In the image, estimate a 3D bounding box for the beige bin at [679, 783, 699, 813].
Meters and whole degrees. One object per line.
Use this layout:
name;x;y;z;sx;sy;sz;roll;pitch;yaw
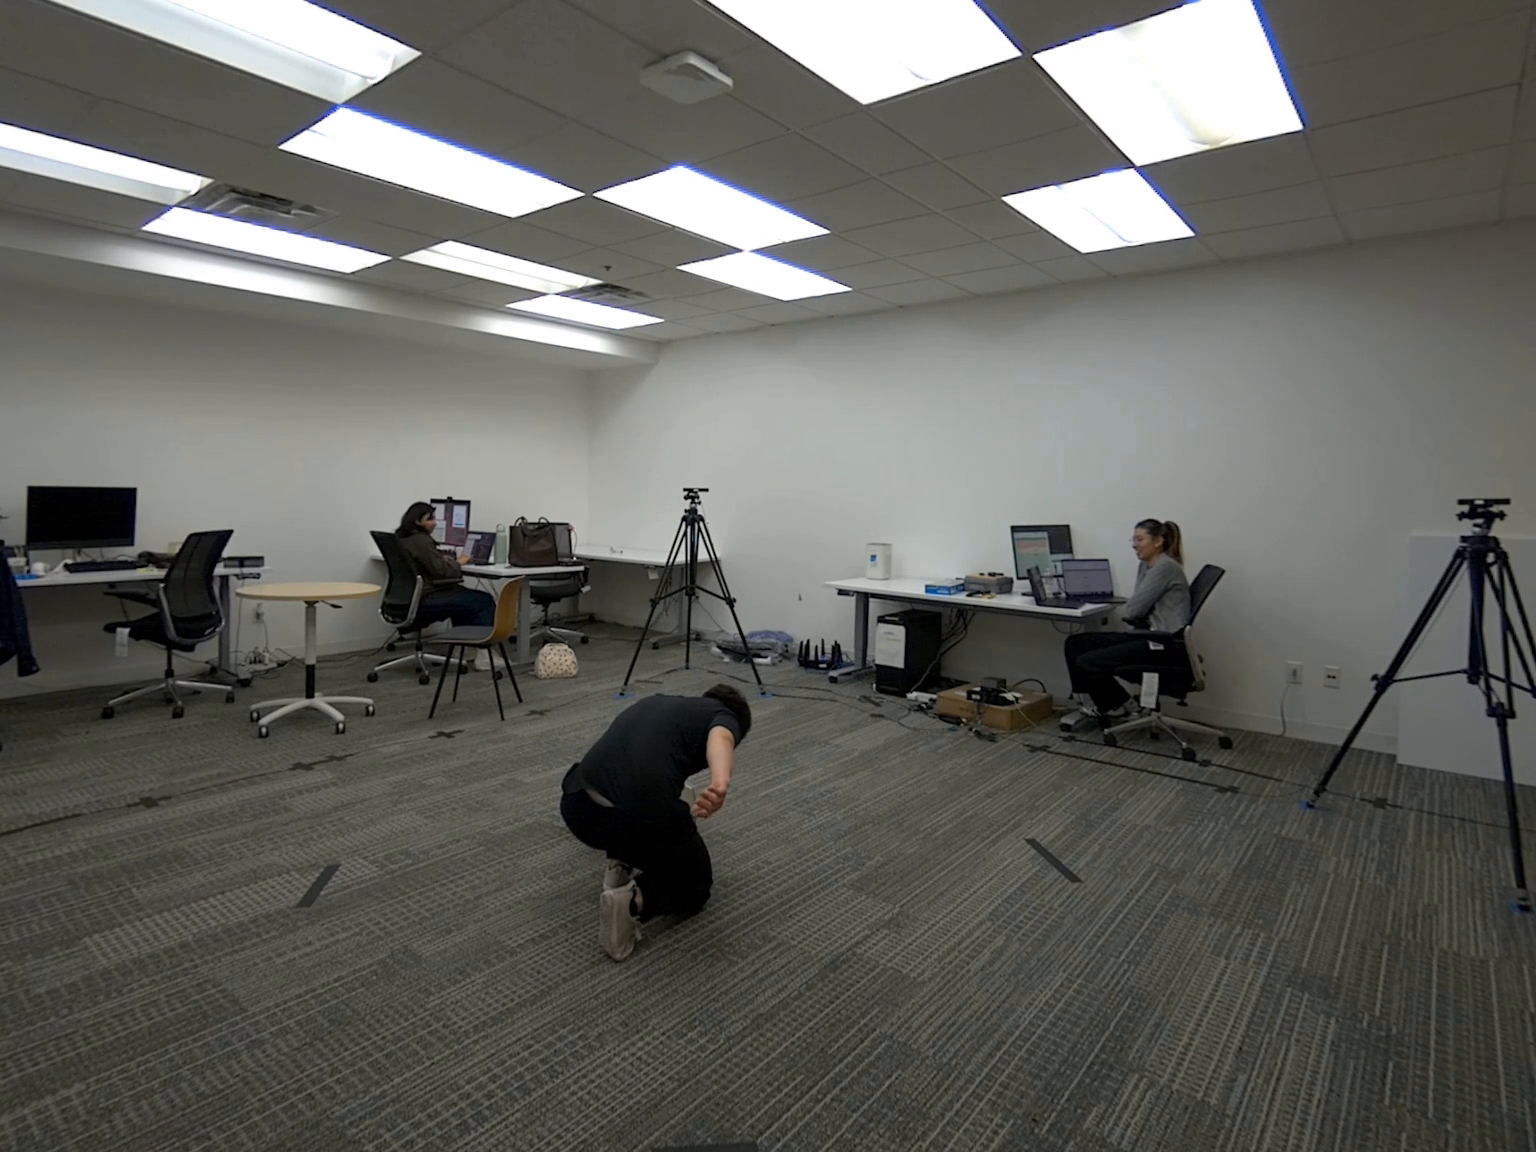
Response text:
beige bin;-0.569;0.932;3.478;0.410;0.188;0.390;-4;6;-37
